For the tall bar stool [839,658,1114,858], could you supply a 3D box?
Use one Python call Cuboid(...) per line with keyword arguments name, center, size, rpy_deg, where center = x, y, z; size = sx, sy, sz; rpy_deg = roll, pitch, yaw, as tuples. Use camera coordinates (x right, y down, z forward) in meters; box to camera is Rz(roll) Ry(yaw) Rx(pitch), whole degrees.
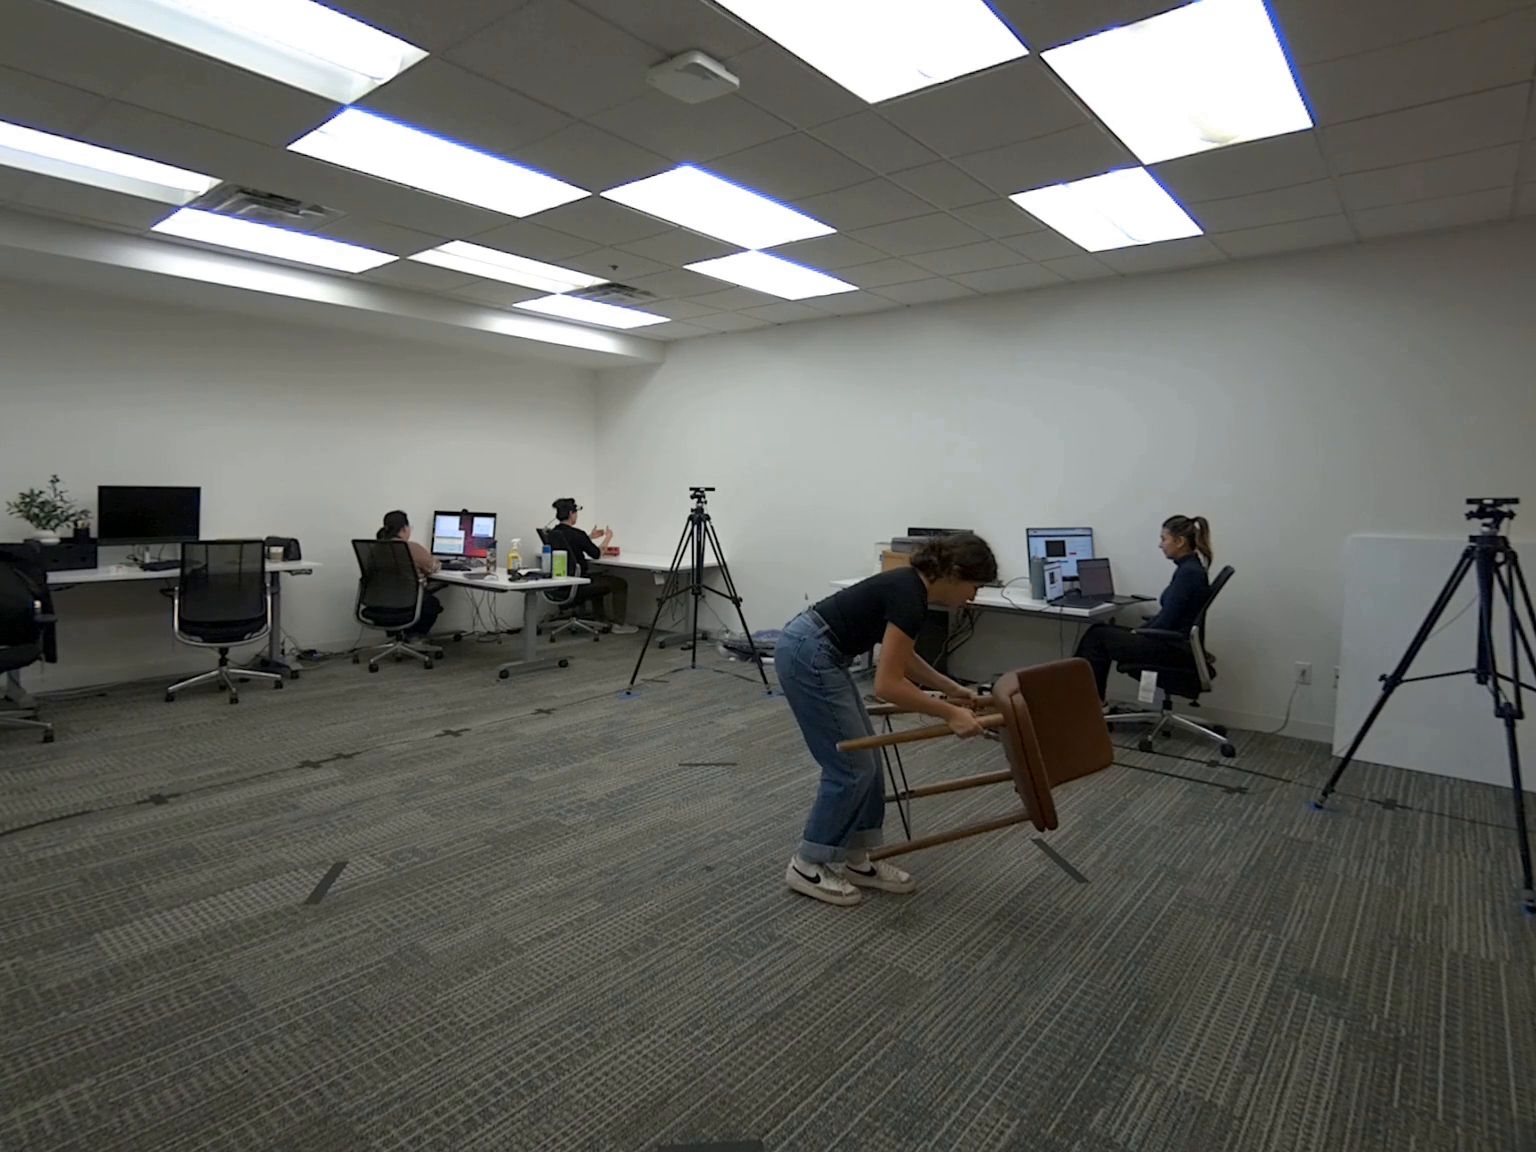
Cuboid(name="tall bar stool", center=(0.733, 0.605, 2.897), size=(0.898, 0.455, 0.465), rpy_deg=(-15, 4, 11))
